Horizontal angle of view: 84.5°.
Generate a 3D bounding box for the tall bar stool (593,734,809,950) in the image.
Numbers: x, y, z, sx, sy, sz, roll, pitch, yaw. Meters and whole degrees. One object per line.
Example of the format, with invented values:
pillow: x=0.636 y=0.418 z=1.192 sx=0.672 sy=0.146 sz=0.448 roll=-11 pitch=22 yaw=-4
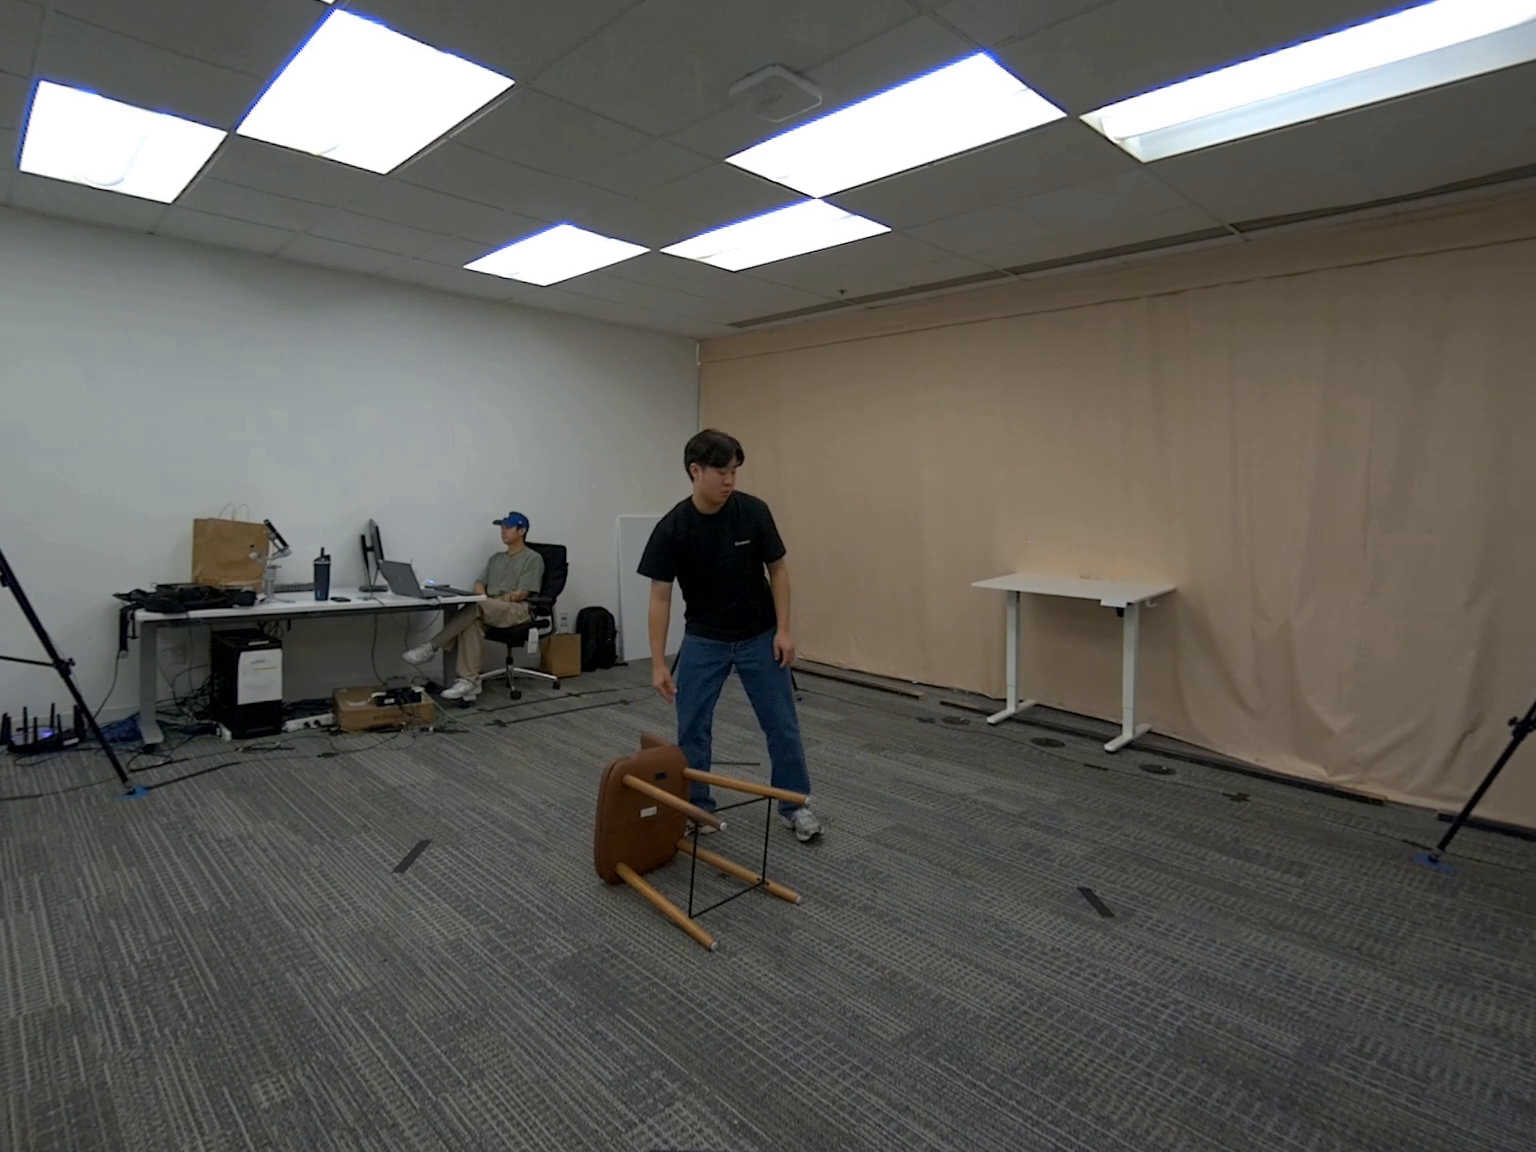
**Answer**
tall bar stool: x=-0.346 y=0.892 z=3.025 sx=0.913 sy=0.455 sz=0.457 roll=9 pitch=7 yaw=42
